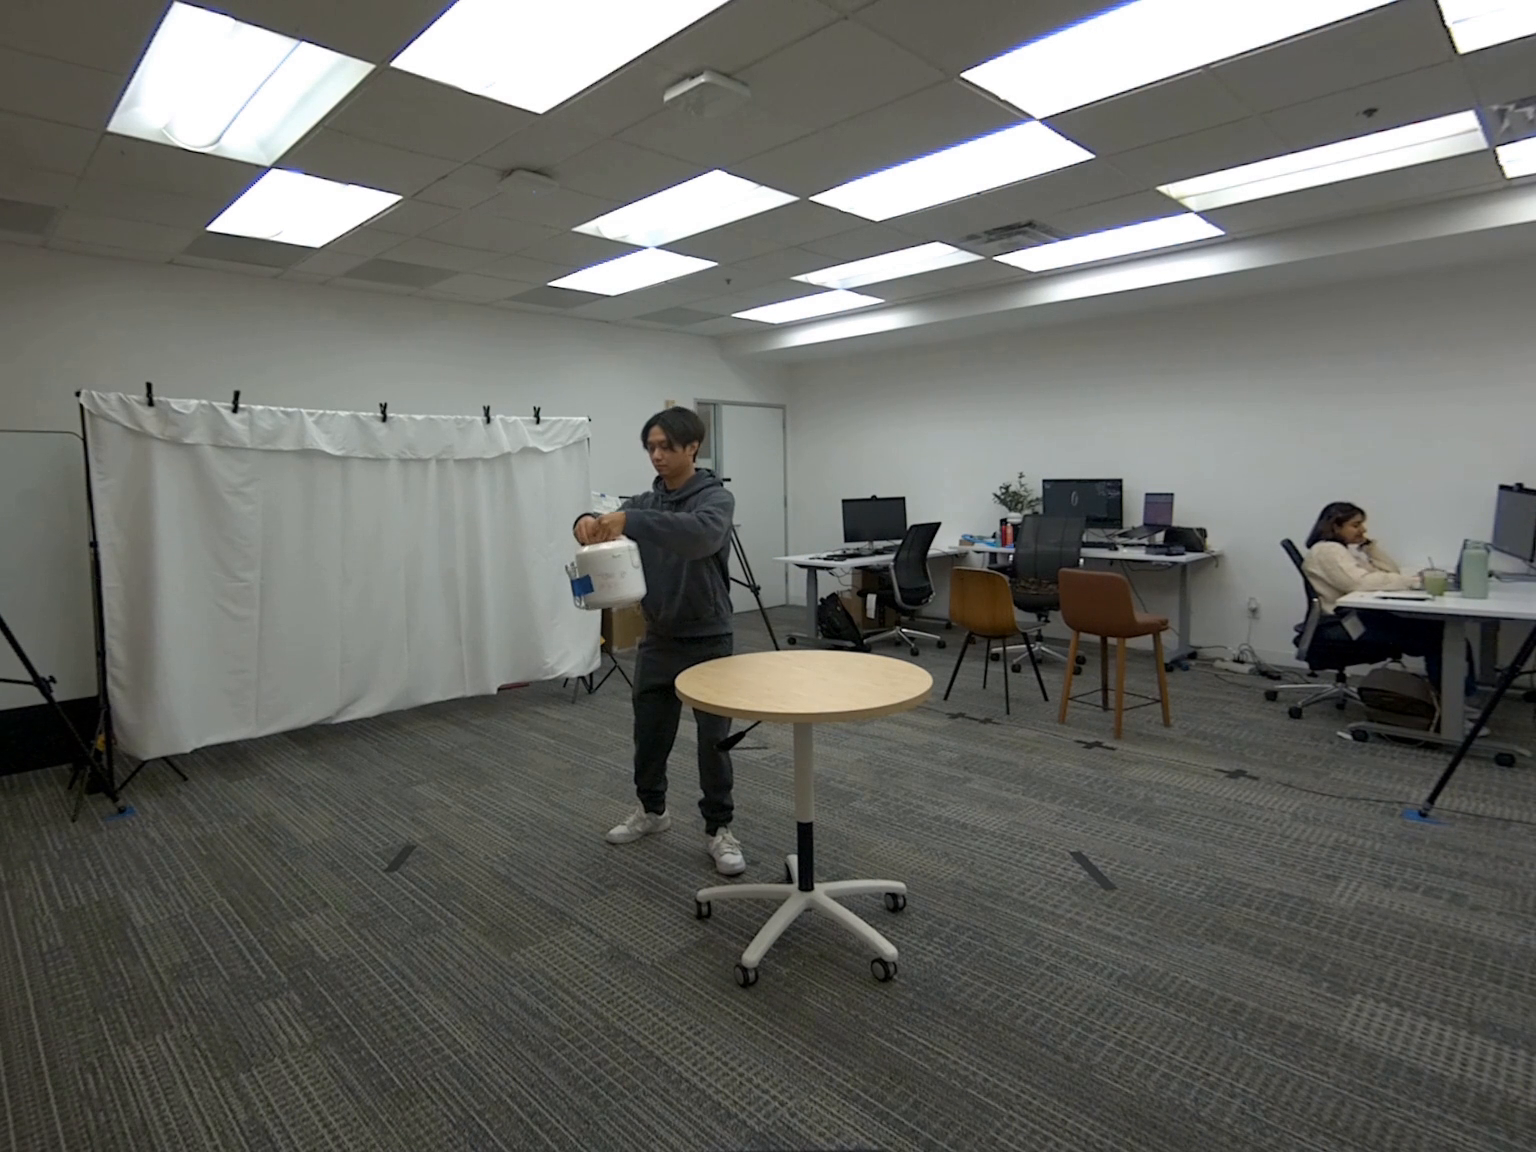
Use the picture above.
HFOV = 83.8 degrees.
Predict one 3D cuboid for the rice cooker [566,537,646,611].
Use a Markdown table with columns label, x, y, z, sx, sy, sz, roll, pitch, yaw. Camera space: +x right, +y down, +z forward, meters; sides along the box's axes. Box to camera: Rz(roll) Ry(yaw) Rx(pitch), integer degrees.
| label | x | y | z | sx | sy | sz | roll | pitch | yaw |
| --- | --- | --- | --- | --- | --- | --- | --- | --- | --- |
| rice cooker | -0.514 | -0.016 | 2.780 | 0.225 | 0.232 | 0.214 | -9 | 3 | 26 |
